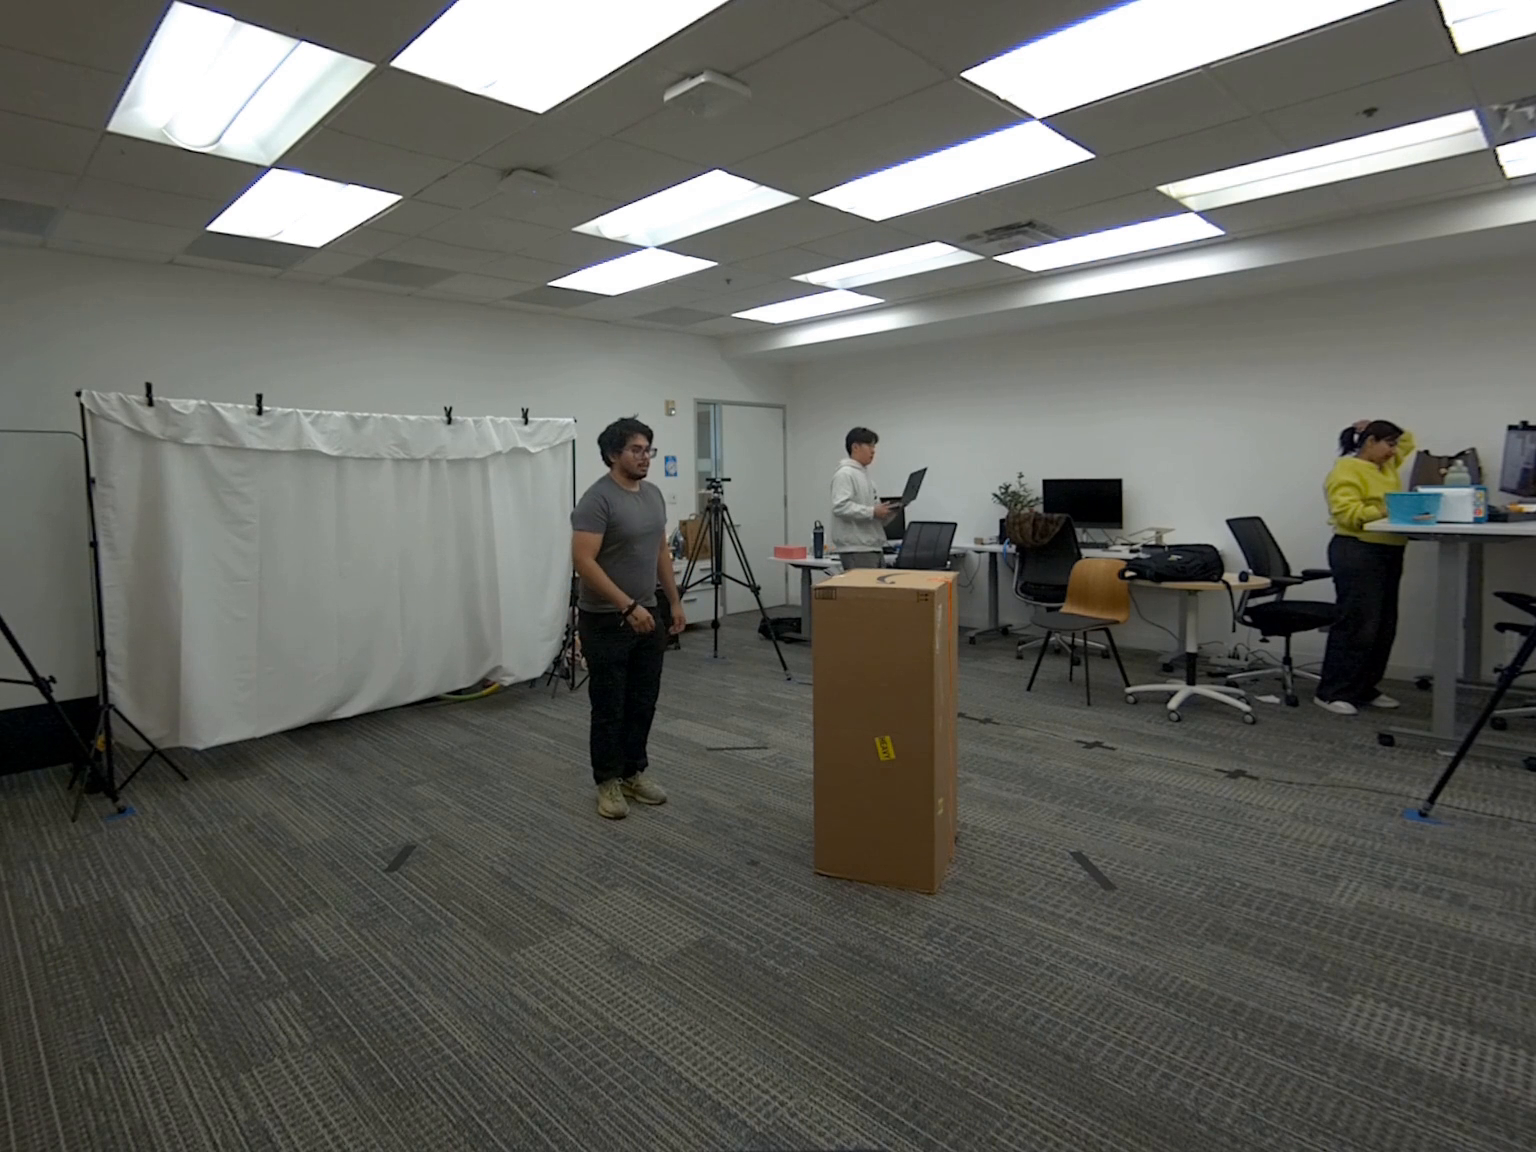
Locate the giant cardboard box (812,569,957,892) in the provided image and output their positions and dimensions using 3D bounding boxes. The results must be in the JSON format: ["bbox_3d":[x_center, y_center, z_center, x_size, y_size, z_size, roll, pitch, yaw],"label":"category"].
[{"bbox_3d":[0.455,0.522,3.153,0.456,1.024,0.574,0,4,21],"label":"giant cardboard box"}]
